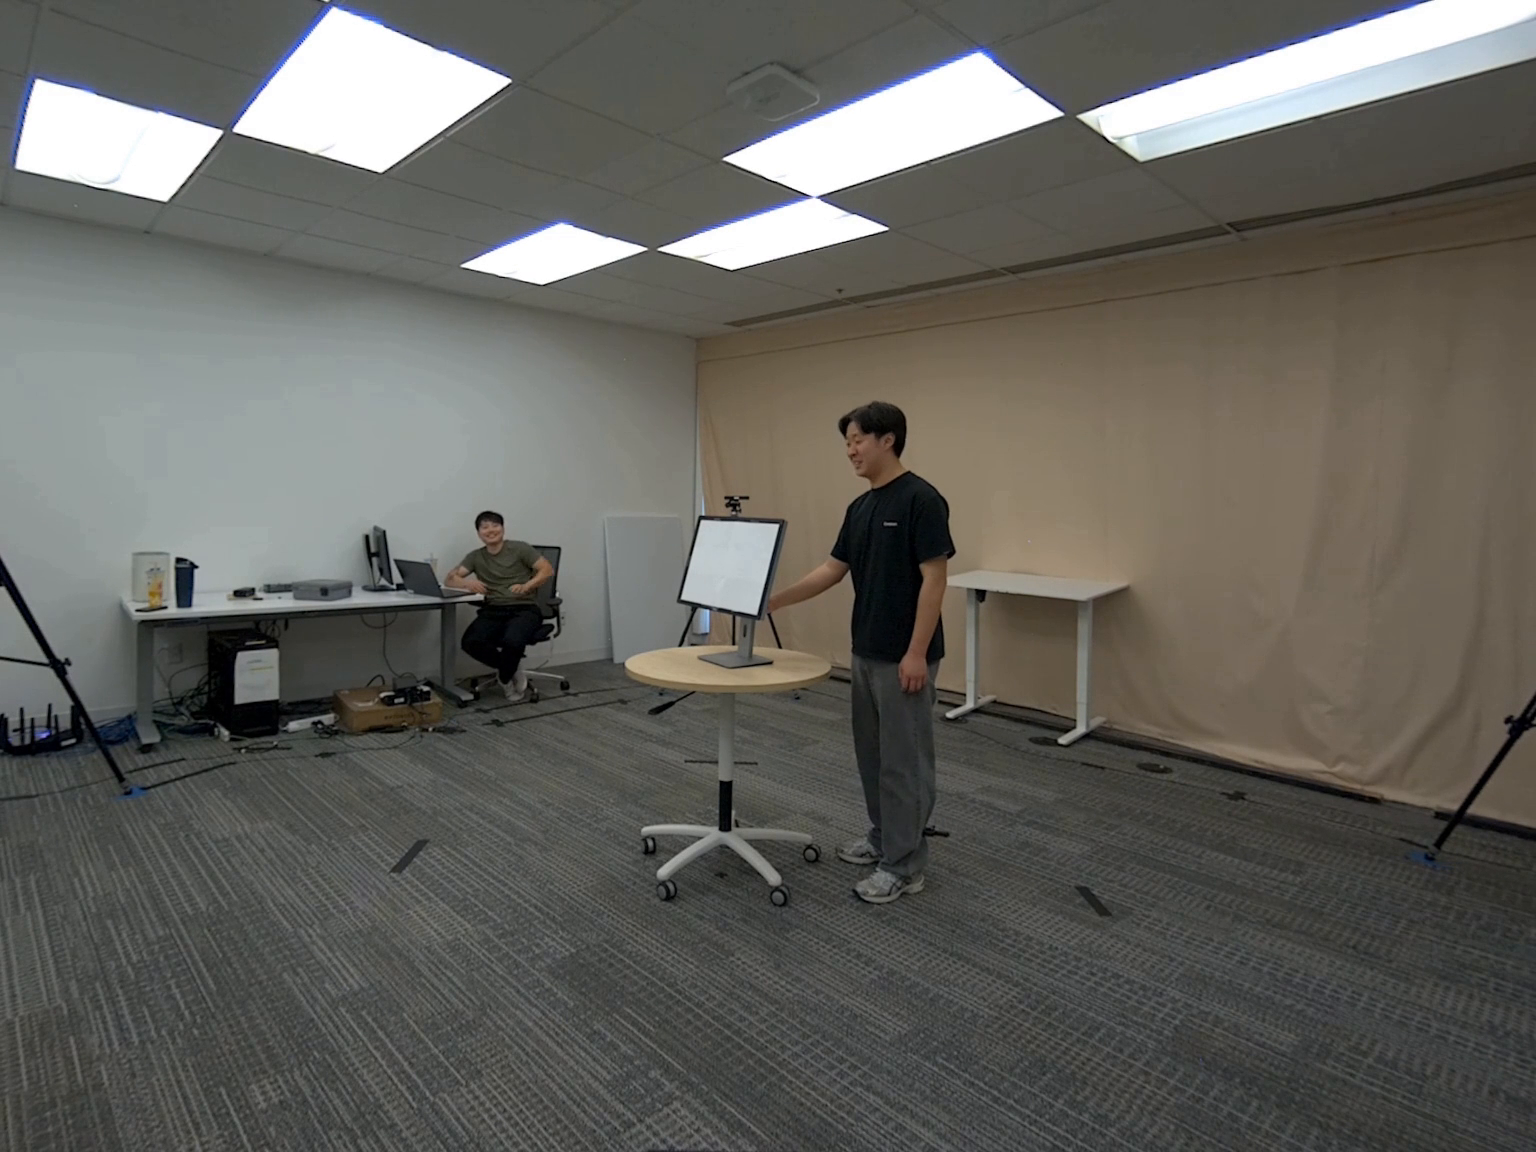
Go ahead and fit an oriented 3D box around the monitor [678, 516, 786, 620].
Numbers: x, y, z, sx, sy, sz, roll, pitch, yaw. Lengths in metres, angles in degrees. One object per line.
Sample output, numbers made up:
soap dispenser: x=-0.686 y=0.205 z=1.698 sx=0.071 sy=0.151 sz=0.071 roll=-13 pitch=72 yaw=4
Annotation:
monitor: x=-0.127 y=0.062 z=3.164 sx=0.217 sy=0.565 sz=0.575 roll=-2 pitch=4 yaw=-33
